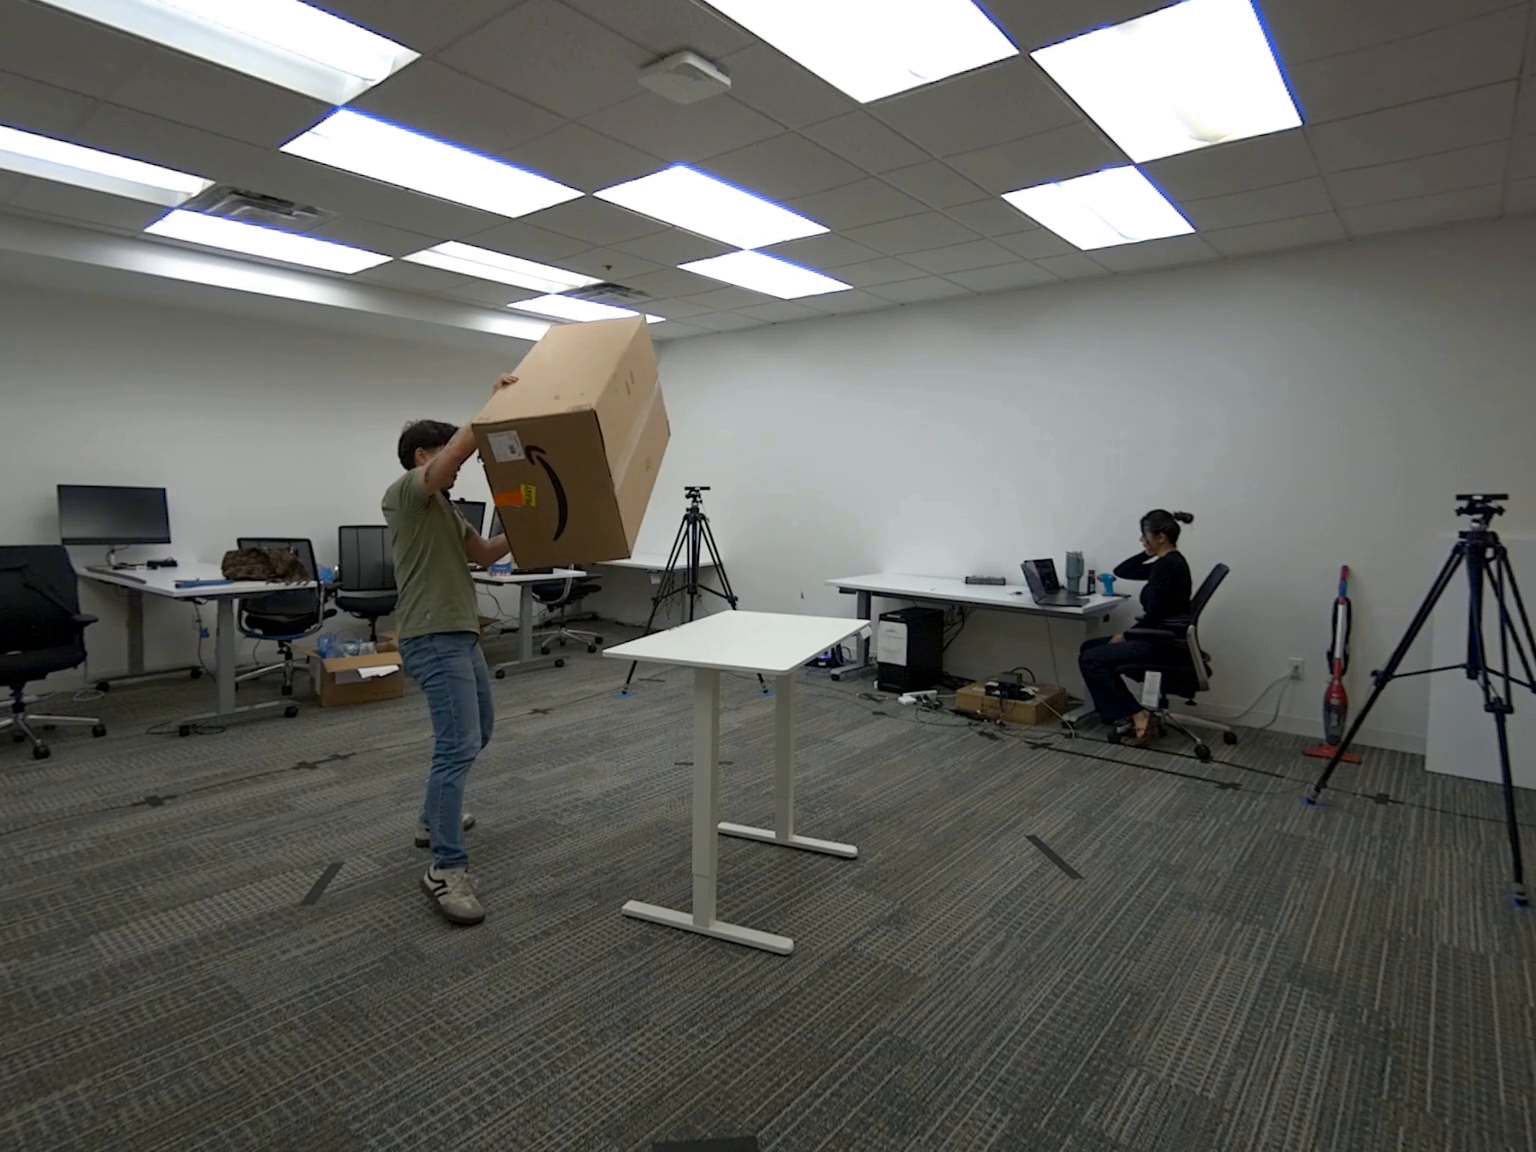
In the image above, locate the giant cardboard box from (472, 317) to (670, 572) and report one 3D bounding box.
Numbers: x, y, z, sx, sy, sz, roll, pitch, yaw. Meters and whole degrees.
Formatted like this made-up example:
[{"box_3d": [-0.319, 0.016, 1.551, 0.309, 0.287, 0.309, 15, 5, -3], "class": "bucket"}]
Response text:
[{"box_3d": [-0.719, -0.555, 3.304, 0.430, 0.560, 1.048, -6, 32, 7], "class": "giant cardboard box"}]
